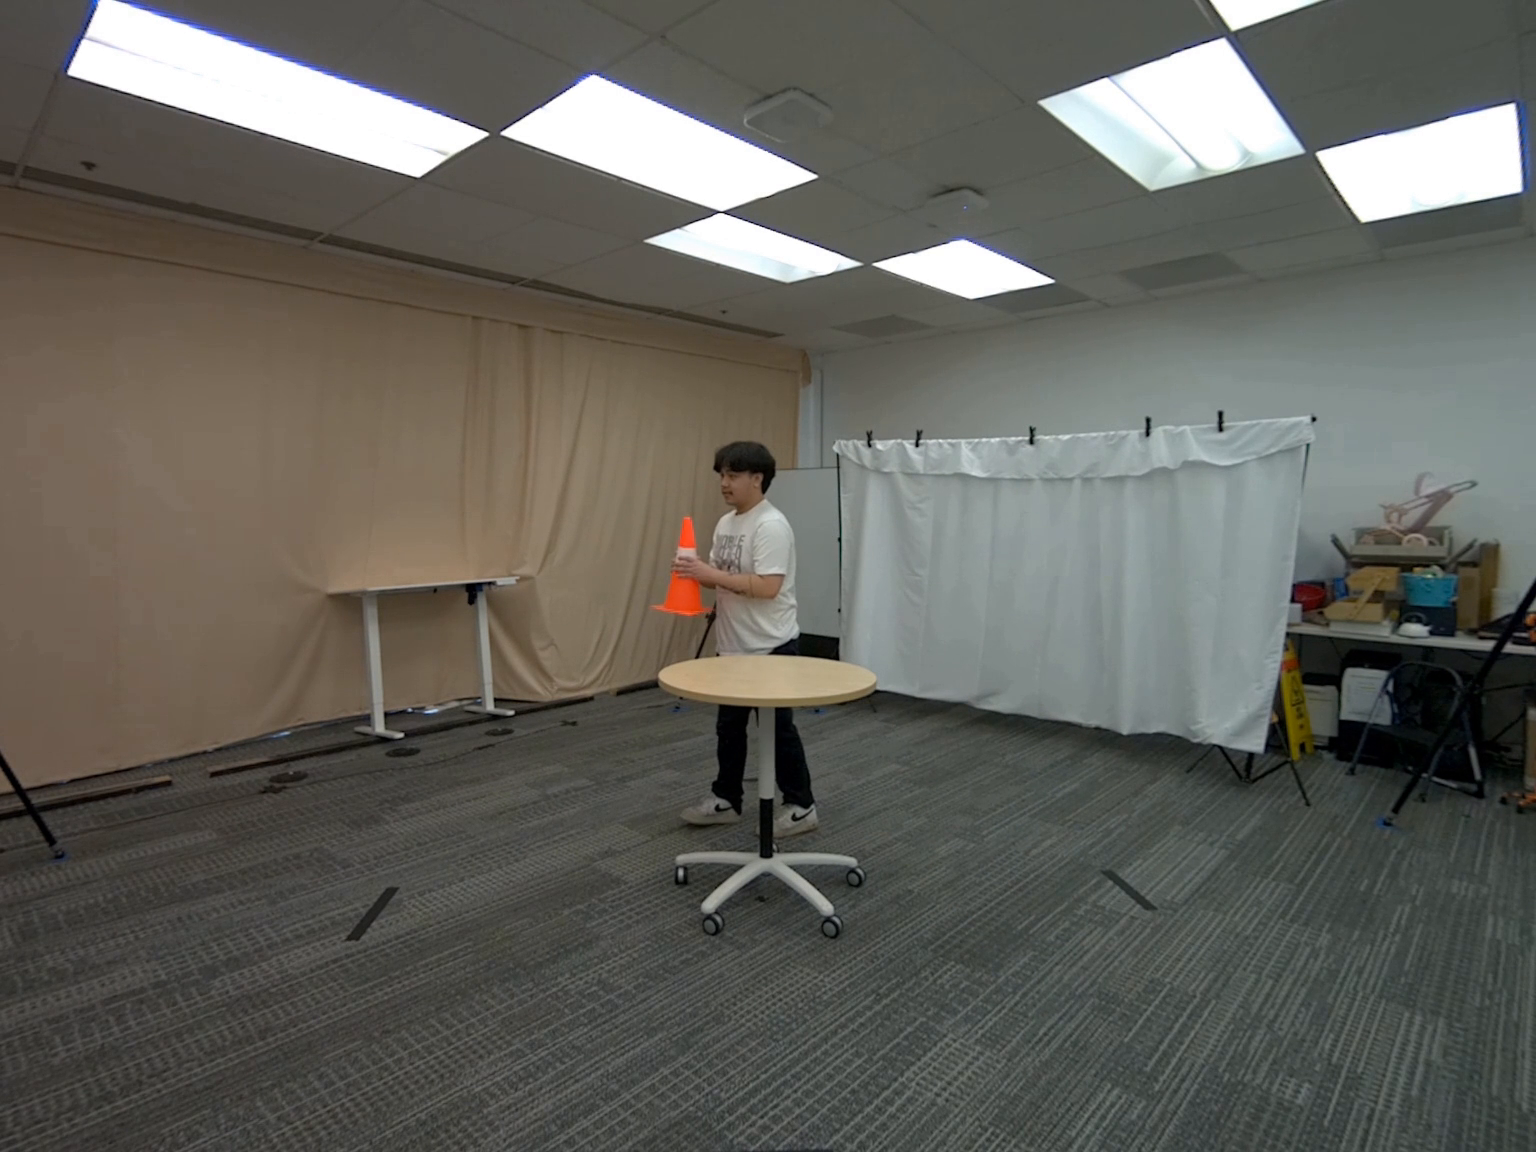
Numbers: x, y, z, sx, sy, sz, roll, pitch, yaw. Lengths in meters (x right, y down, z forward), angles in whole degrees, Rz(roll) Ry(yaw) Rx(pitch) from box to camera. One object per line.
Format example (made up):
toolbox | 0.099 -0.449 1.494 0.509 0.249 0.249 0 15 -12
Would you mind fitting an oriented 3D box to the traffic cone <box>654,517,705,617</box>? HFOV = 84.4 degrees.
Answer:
traffic cone | -0.339 -0.048 3.496 0.211 0.383 0.198 5 4 30
